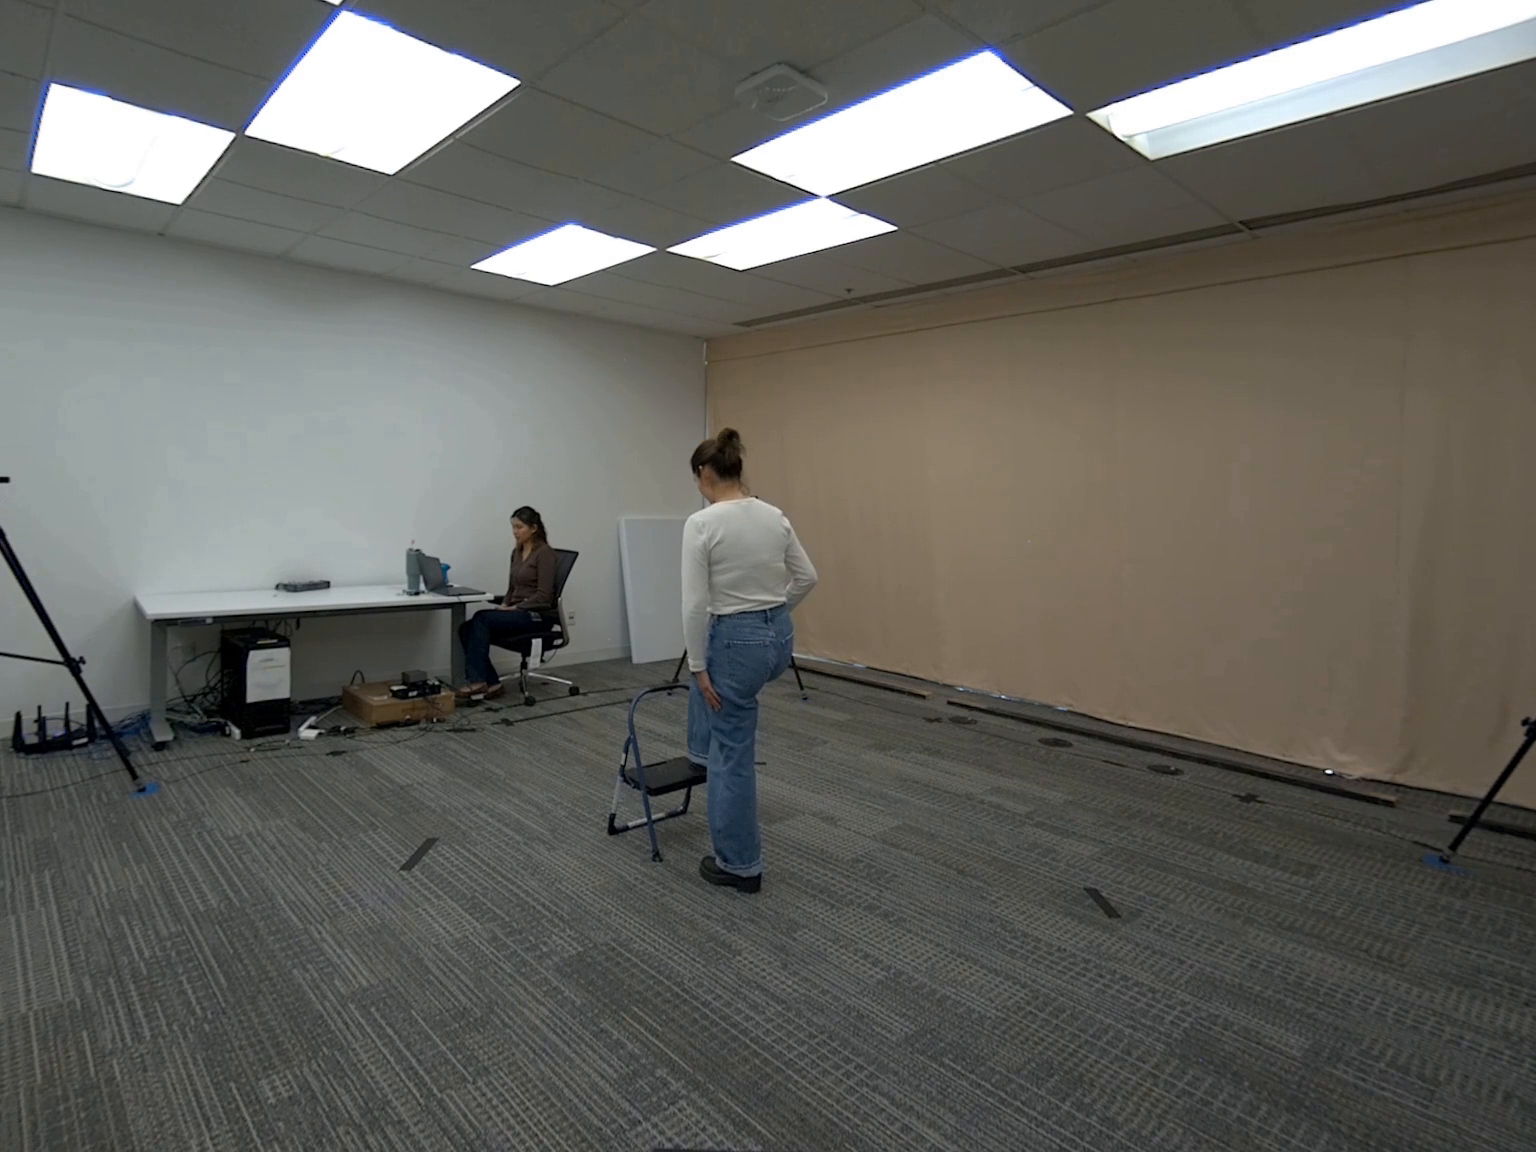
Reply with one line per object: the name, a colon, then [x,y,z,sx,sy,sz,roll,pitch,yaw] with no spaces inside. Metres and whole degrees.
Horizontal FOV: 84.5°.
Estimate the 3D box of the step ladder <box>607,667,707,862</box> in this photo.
step ladder: [-0.390,0.762,3.446,0.421,0.604,0.358,-2,5,-45]
